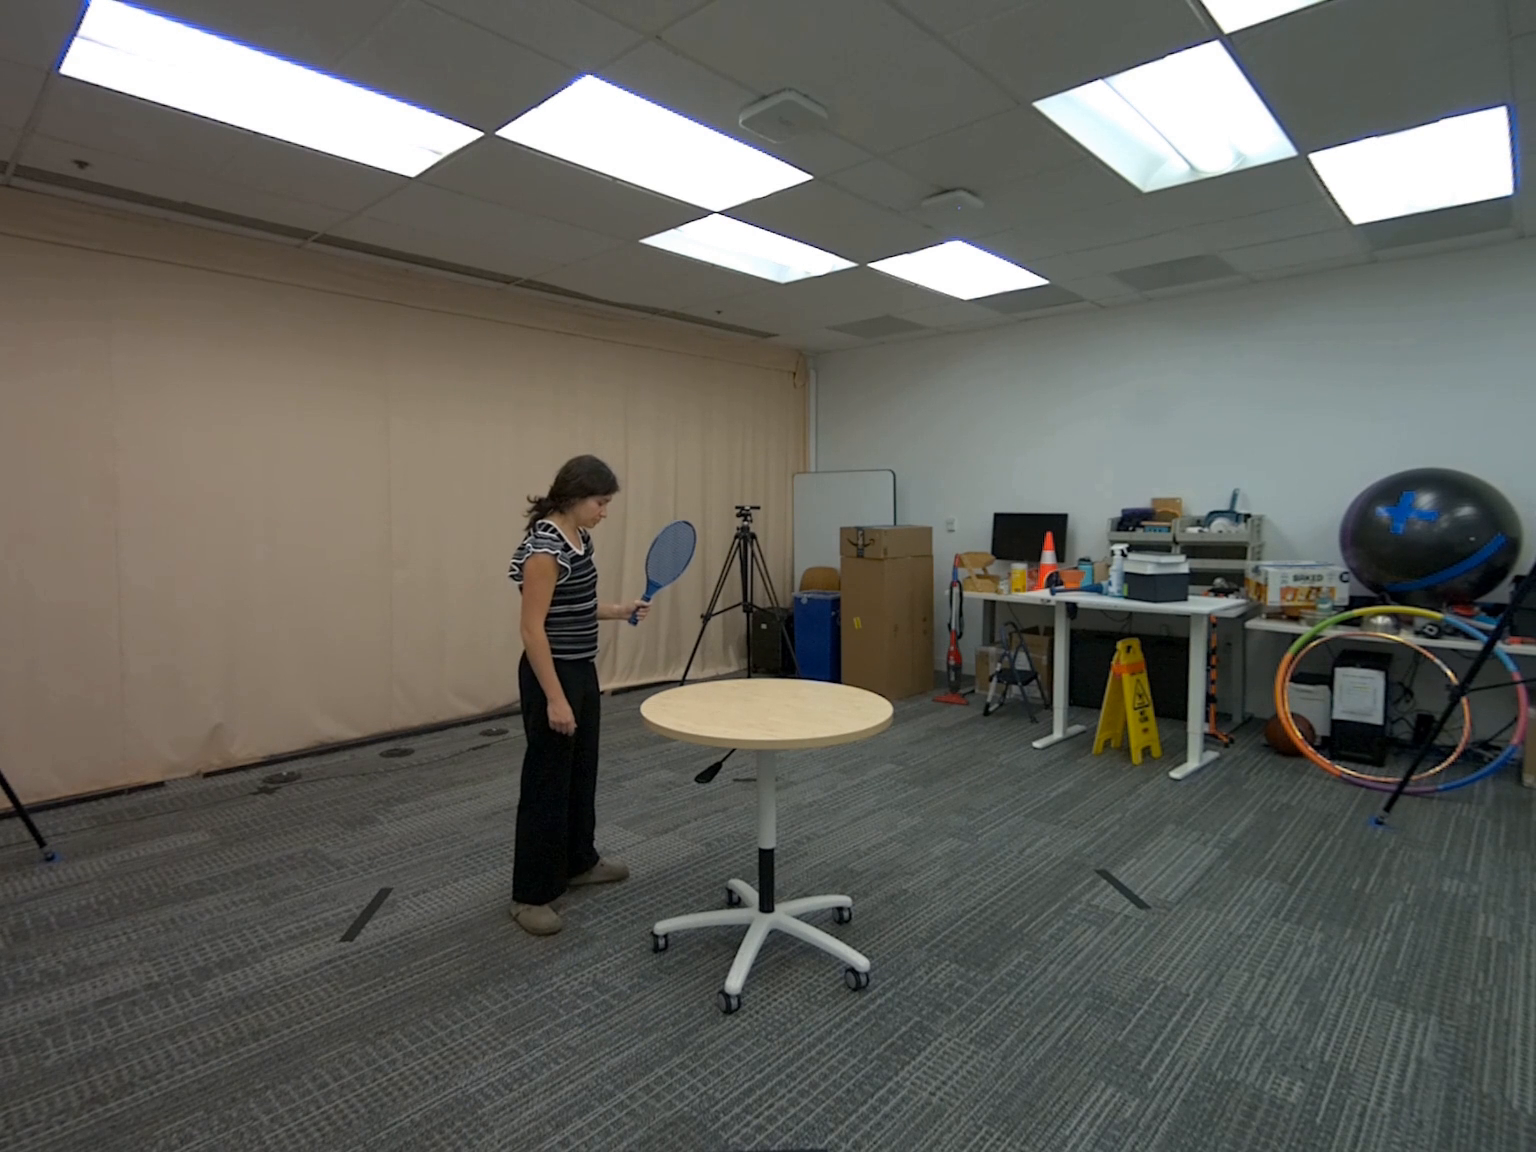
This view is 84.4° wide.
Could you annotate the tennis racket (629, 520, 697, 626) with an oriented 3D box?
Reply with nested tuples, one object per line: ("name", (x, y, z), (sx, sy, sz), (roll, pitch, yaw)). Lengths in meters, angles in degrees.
("tennis racket", (-0.405, -0.011, 3.106), (0.033, 0.433, 0.206), (24, -10, 41))
